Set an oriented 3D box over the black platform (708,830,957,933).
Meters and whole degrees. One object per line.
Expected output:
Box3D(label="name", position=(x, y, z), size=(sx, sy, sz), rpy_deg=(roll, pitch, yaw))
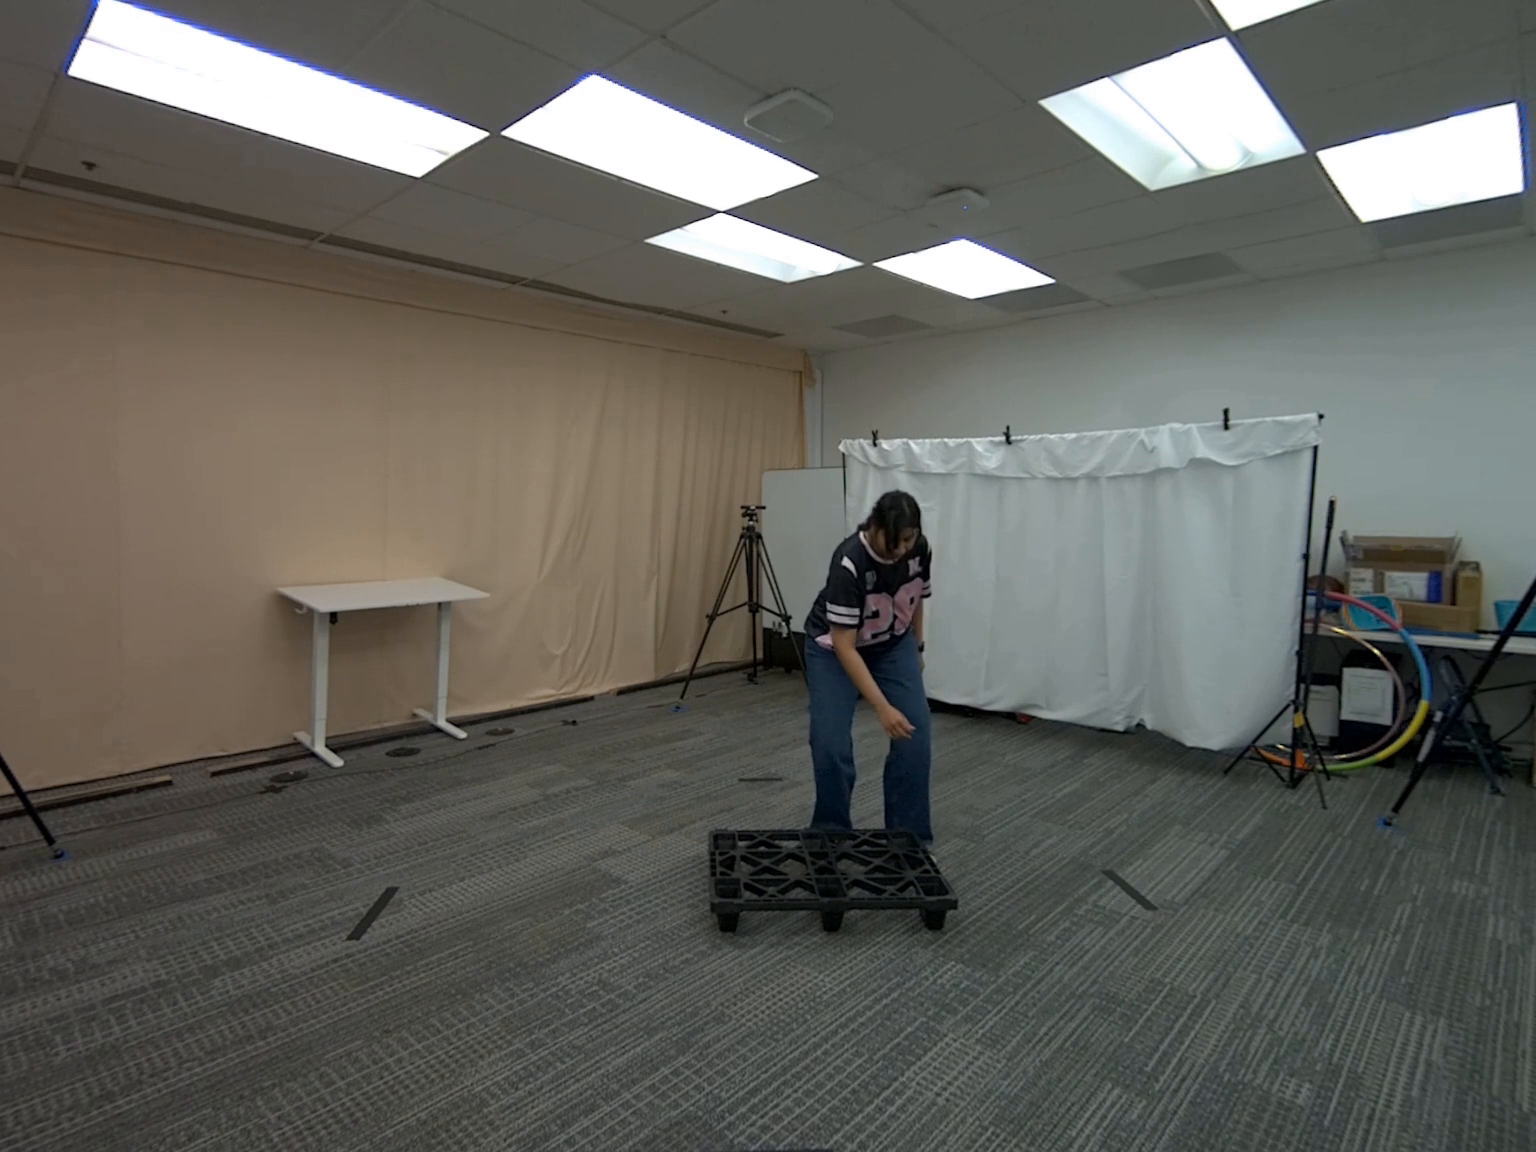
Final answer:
Box3D(label="black platform", position=(0.187, 1.078, 2.982), size=(0.805, 0.143, 0.607), rpy_deg=(0, 4, -2))
